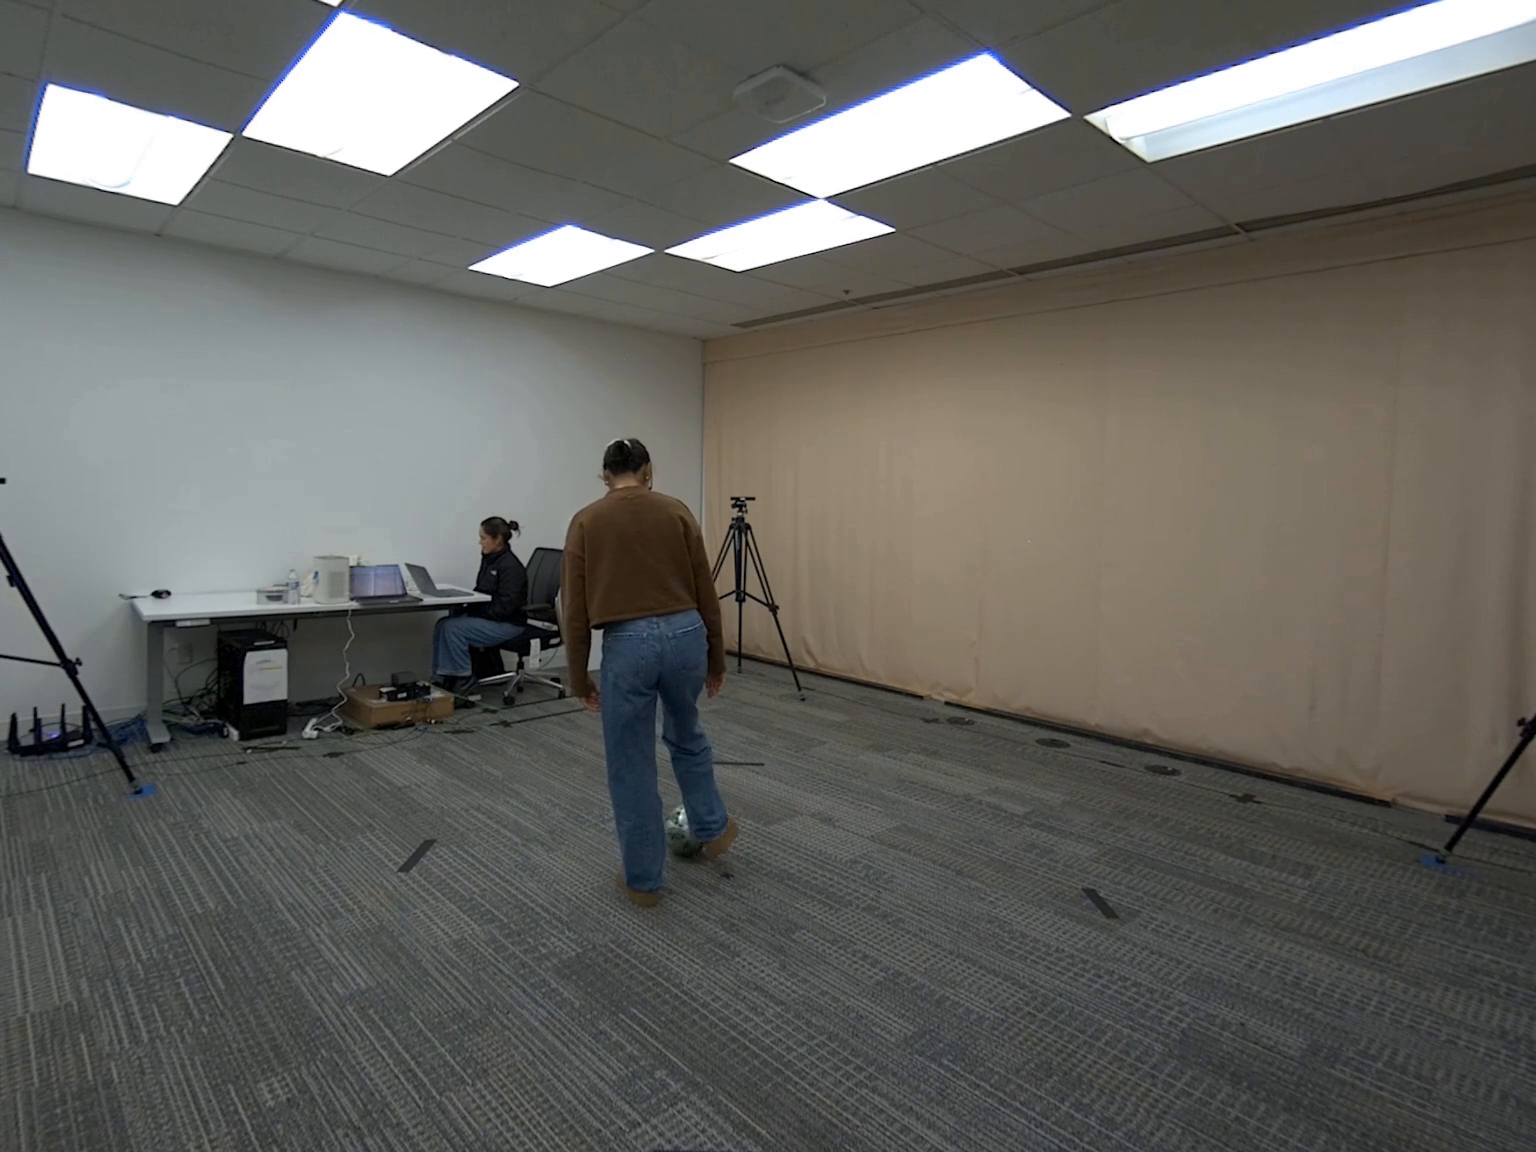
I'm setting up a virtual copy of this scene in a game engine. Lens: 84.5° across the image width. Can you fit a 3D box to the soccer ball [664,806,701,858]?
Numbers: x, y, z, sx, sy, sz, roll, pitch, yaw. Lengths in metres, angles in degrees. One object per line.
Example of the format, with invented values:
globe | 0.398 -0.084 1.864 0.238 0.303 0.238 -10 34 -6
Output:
soccer ball | -0.333 0.996 3.287 0.187 0.187 0.188 1 4 -1
